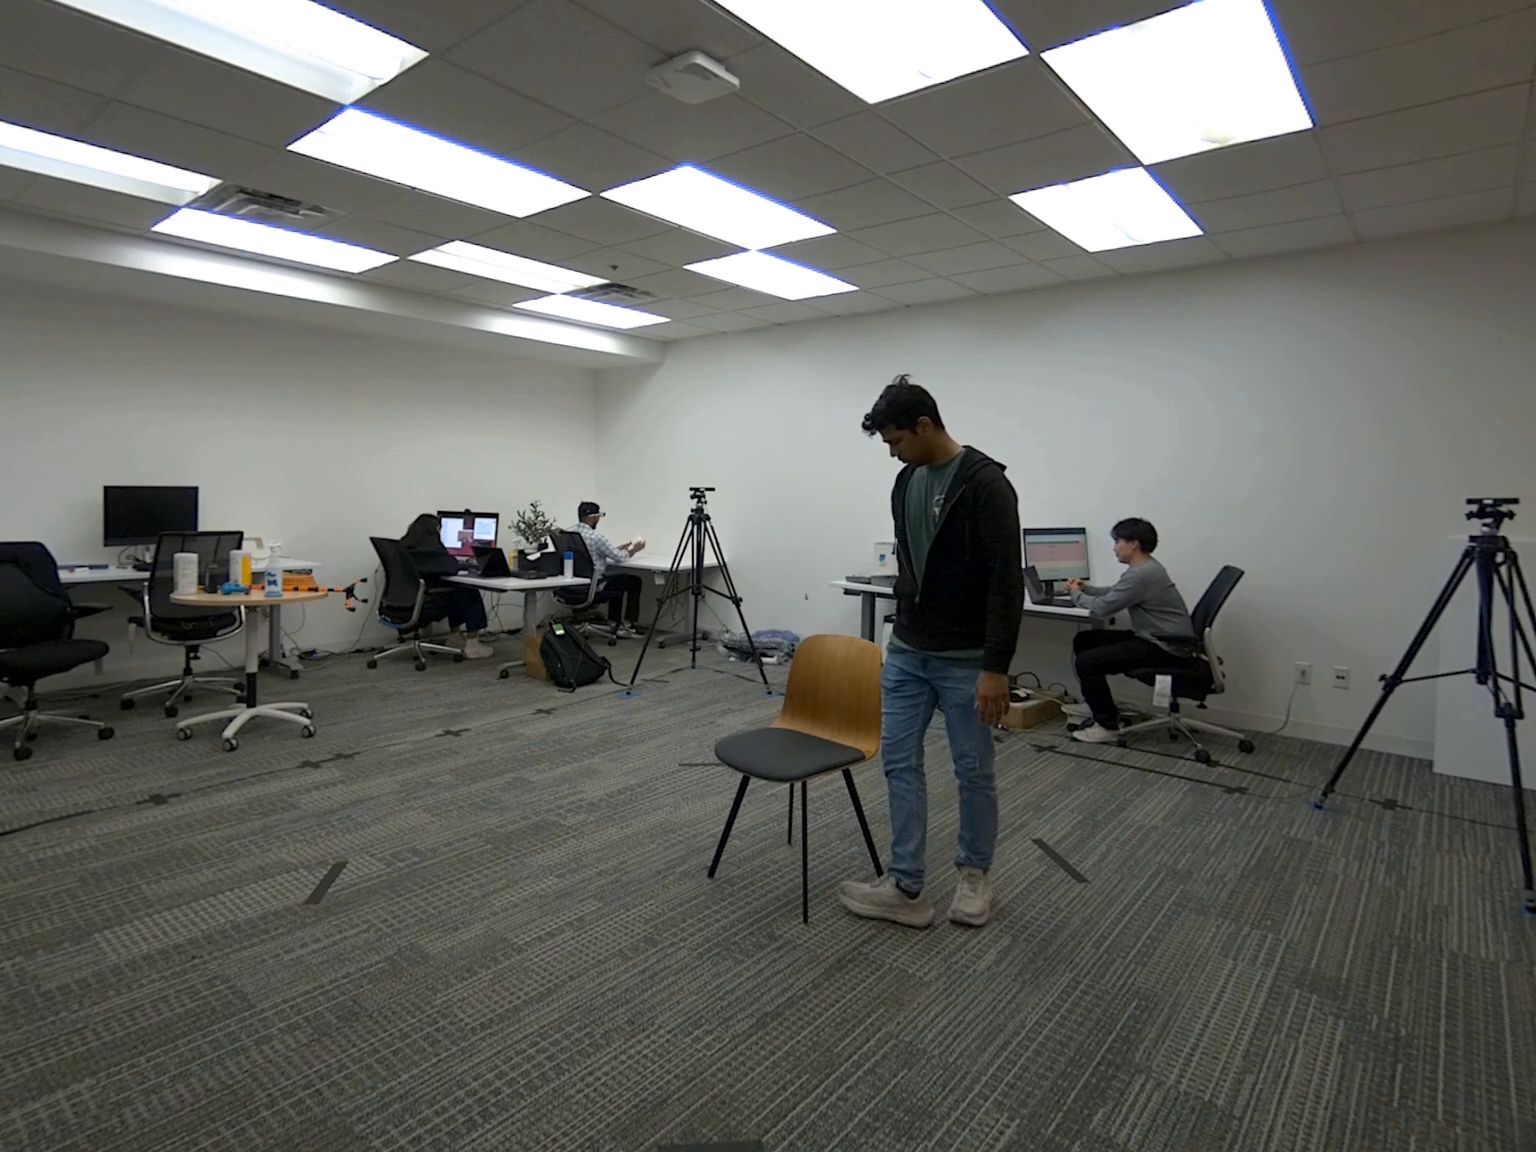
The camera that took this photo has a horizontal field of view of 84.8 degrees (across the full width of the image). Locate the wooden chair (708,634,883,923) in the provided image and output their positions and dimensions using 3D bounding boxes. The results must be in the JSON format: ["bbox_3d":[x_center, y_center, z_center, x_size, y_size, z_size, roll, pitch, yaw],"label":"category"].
[{"bbox_3d":[0.095,0.655,3.013,0.494,0.877,0.505,5,0,43],"label":"wooden chair"}]
